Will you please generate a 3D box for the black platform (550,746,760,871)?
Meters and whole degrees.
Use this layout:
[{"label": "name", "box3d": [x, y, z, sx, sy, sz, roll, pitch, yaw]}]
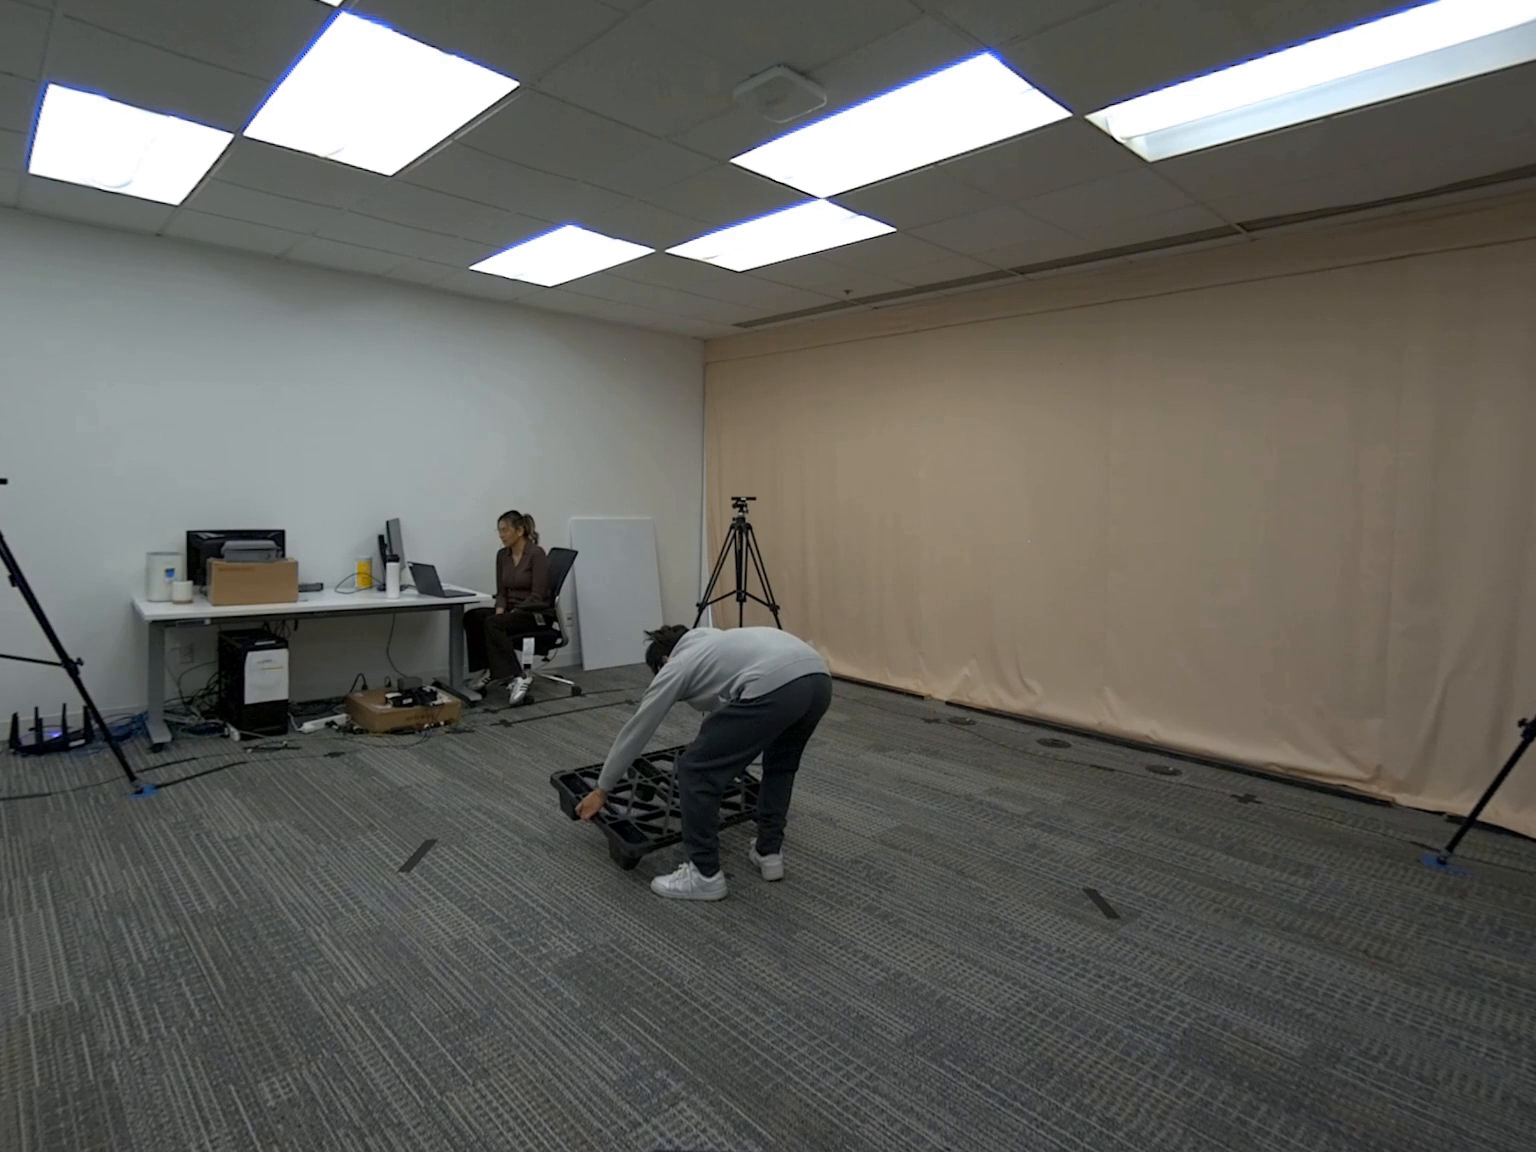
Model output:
[{"label": "black platform", "box3d": [-0.417, 0.929, 3.450, 0.787, 0.142, 0.623, -3, 17, -42]}]
